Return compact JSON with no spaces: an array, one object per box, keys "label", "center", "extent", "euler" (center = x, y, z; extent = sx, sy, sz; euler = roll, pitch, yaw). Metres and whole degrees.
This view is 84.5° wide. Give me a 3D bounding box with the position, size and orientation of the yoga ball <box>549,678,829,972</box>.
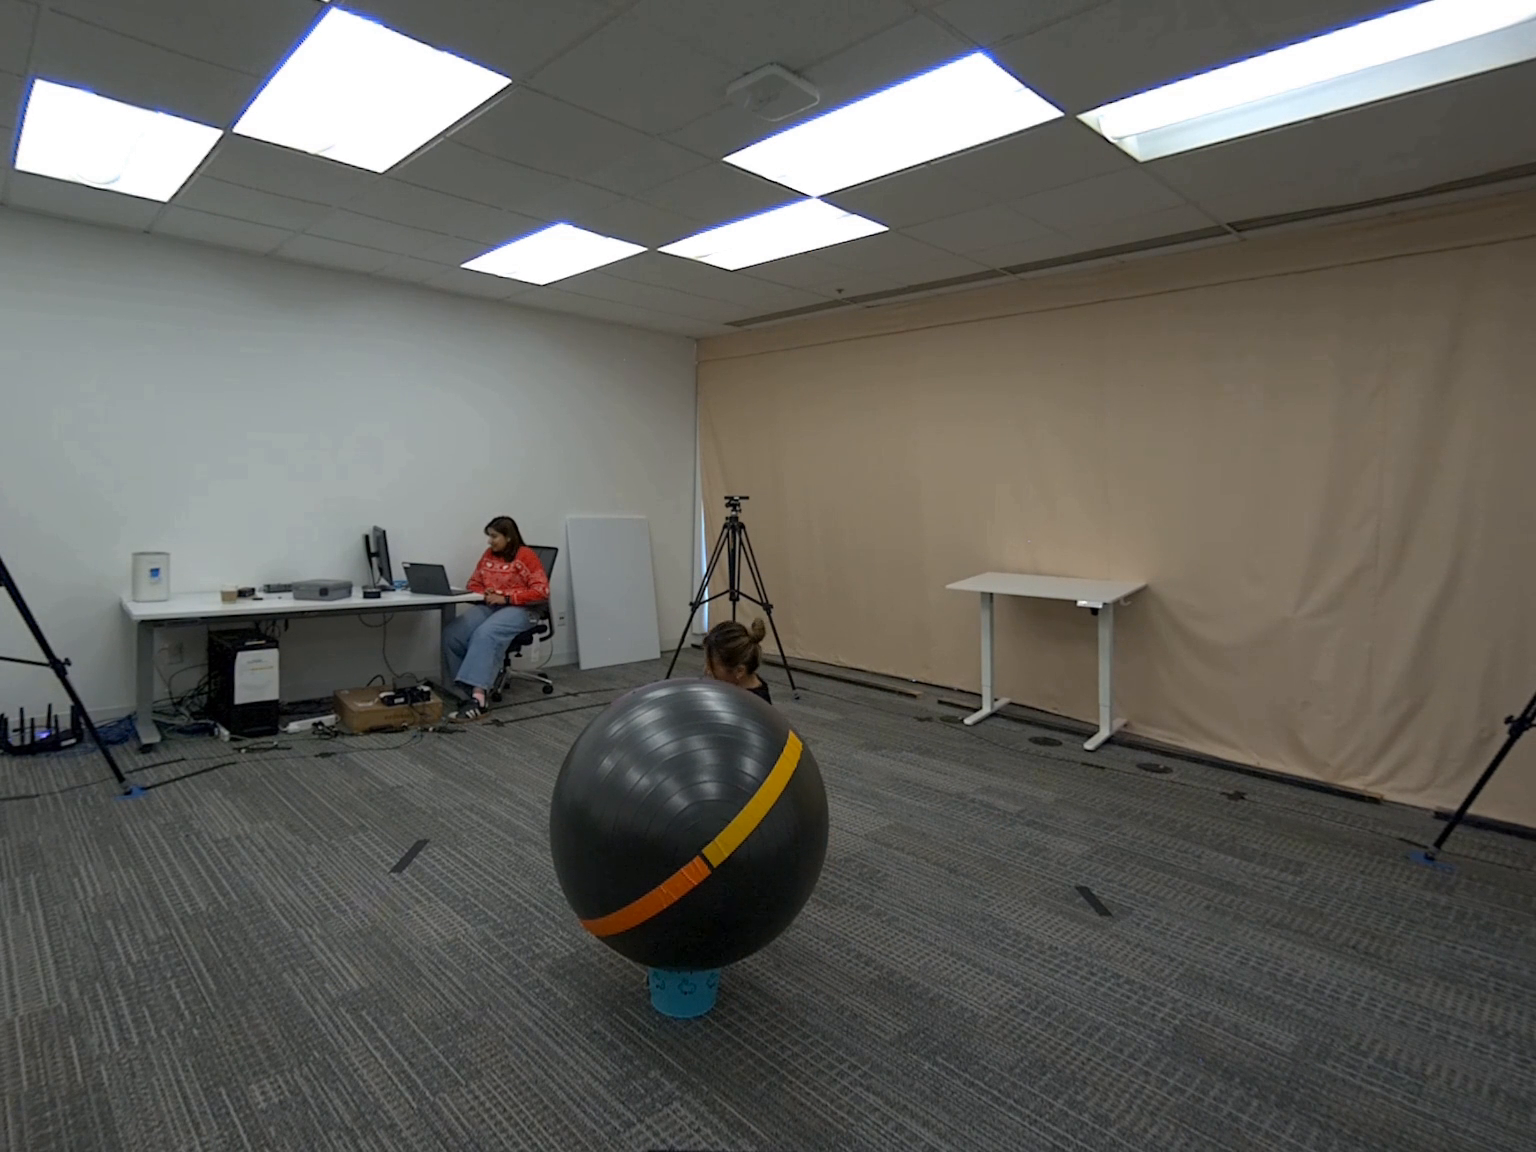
[{"label":"yoga ball","center":[-0.215,0.672,2.294],"extent":[0.757,0.756,0.761],"euler":[1,4,-1]}]
